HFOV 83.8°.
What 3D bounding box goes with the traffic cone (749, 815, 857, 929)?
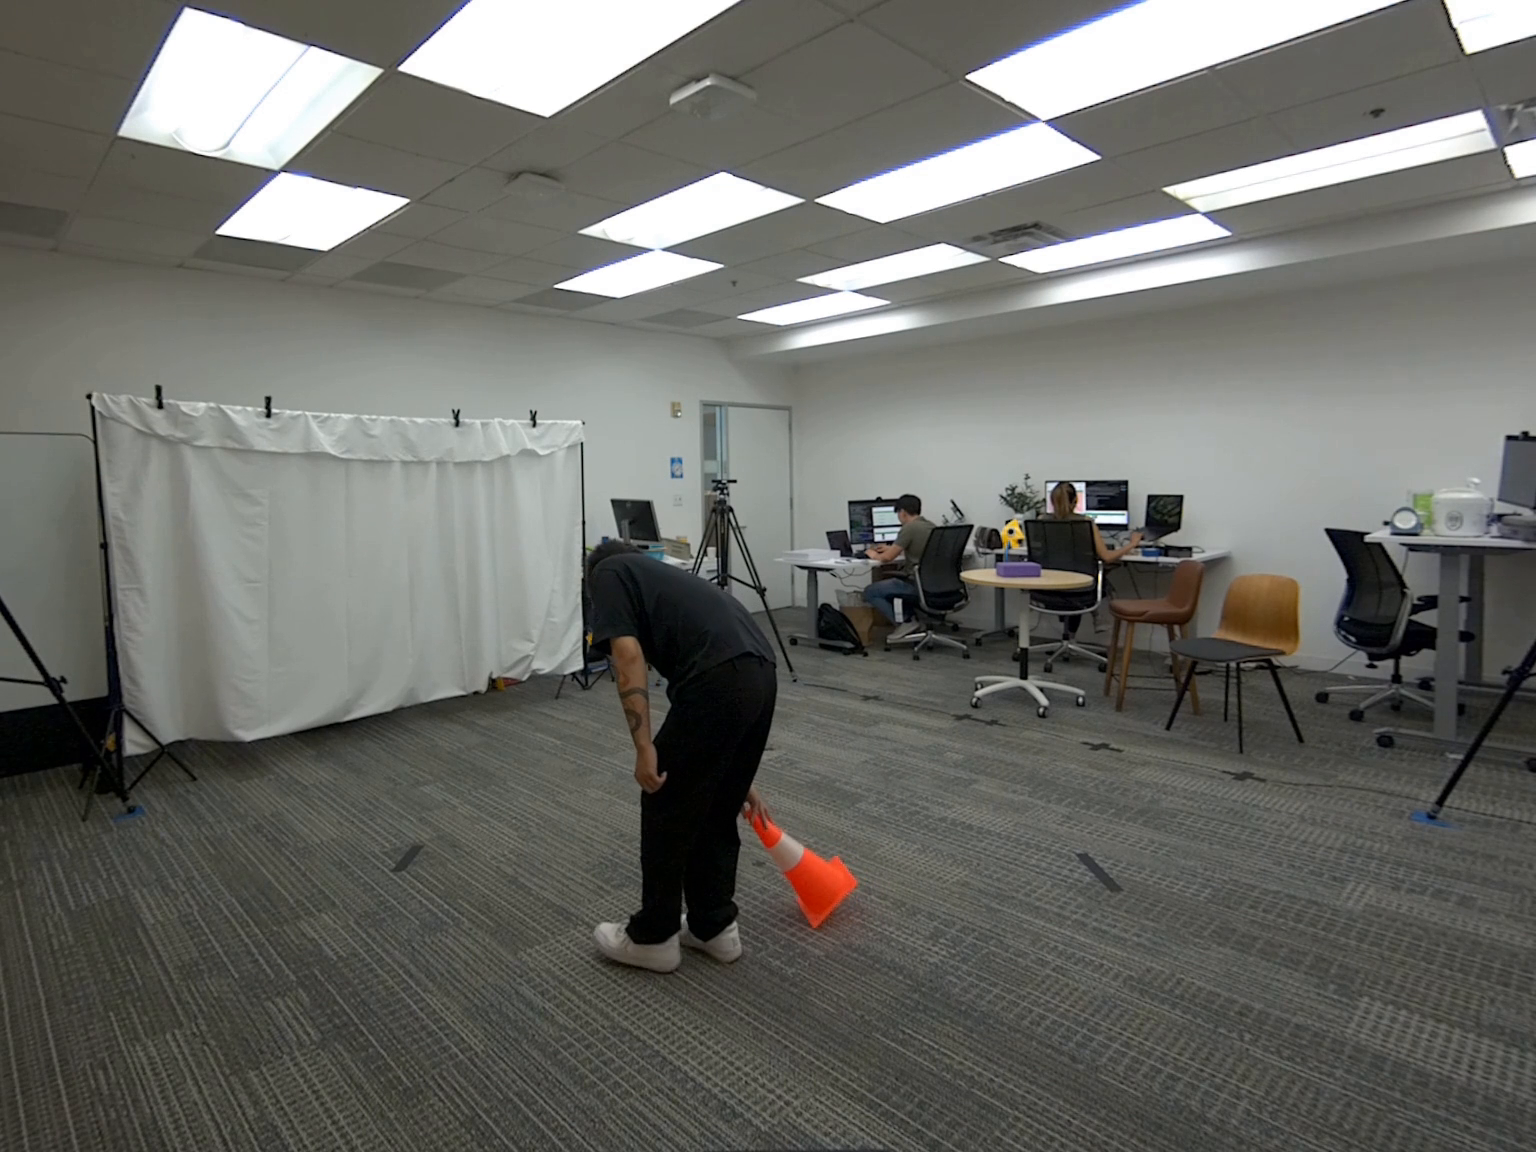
[{"bbox_3d":[0.070,0.883,2.719,0.205,0.379,0.206,-43,10,-7],"label":"traffic cone"}]
